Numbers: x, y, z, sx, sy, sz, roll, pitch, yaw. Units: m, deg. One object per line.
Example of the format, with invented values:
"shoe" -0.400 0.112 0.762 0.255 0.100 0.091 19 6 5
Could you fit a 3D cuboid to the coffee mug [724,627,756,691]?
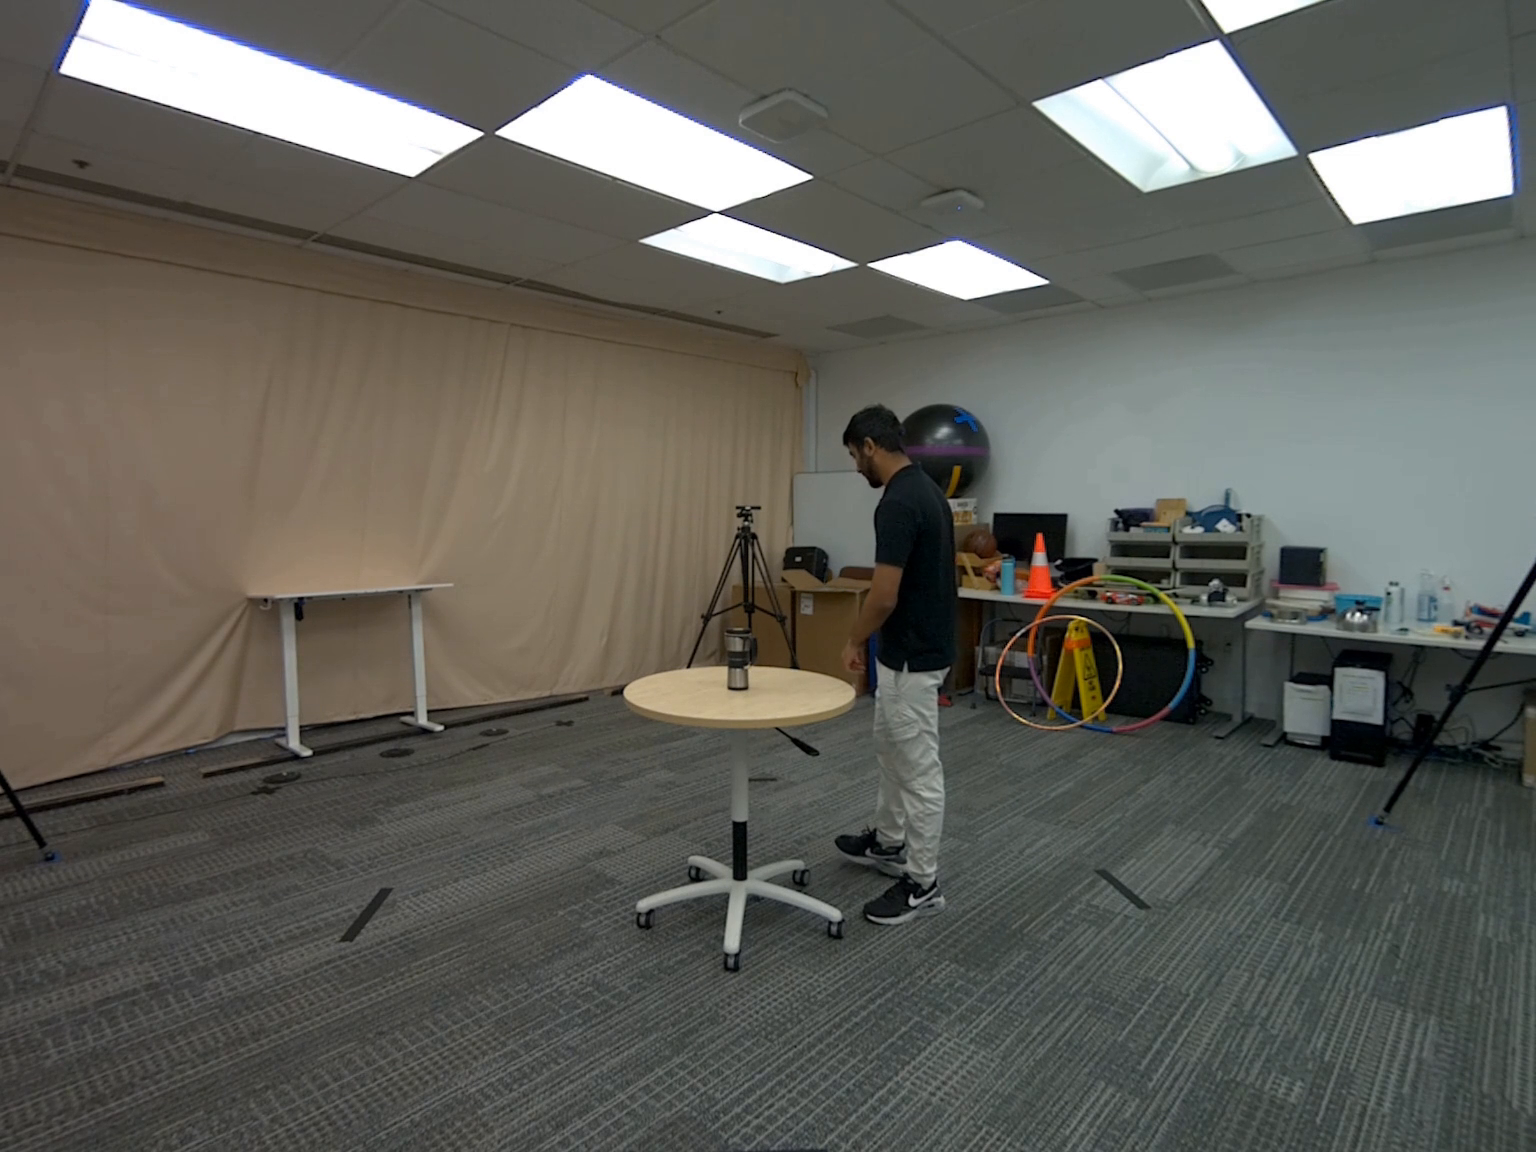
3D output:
"coffee mug" -0.084 0.283 2.784 0.086 0.203 0.125 3 -4 -25
